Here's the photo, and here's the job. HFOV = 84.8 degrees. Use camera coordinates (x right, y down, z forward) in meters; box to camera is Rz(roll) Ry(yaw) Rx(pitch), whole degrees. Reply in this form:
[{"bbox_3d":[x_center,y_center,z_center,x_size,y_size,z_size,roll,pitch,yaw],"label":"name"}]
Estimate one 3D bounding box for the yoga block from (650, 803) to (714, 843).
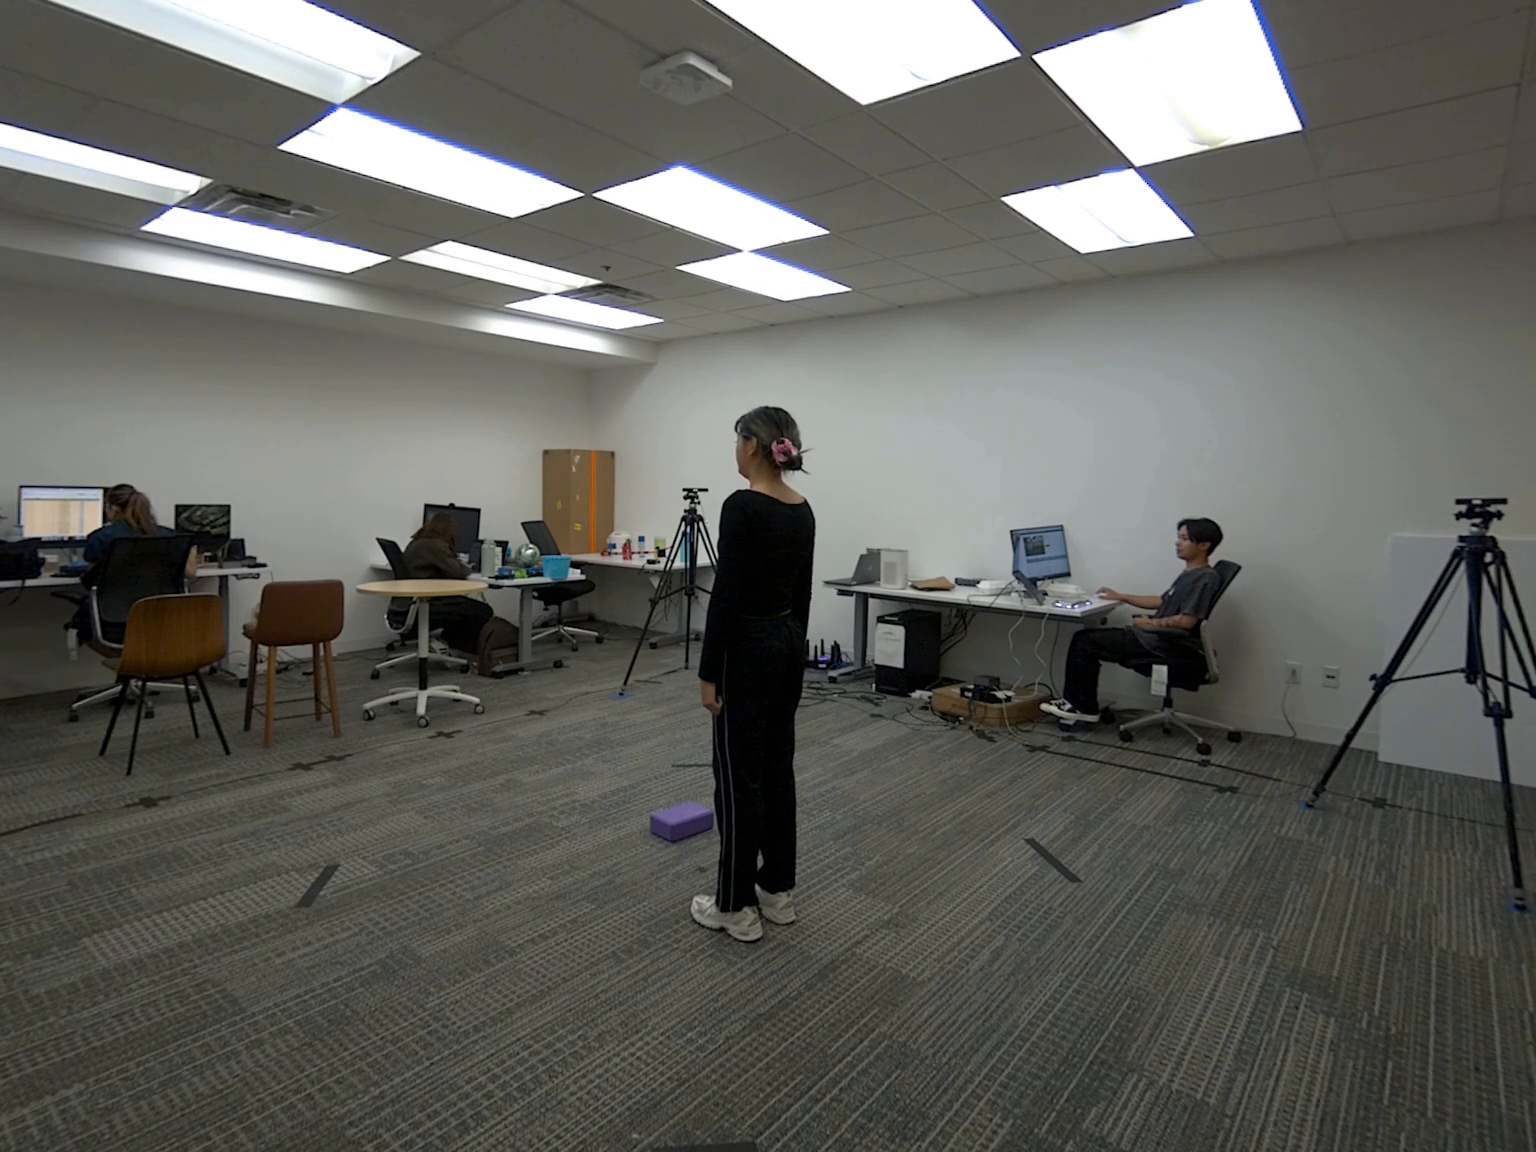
[{"bbox_3d":[-0.362,0.995,3.464,0.222,0.076,0.154,-3,6,-44],"label":"yoga block"}]
